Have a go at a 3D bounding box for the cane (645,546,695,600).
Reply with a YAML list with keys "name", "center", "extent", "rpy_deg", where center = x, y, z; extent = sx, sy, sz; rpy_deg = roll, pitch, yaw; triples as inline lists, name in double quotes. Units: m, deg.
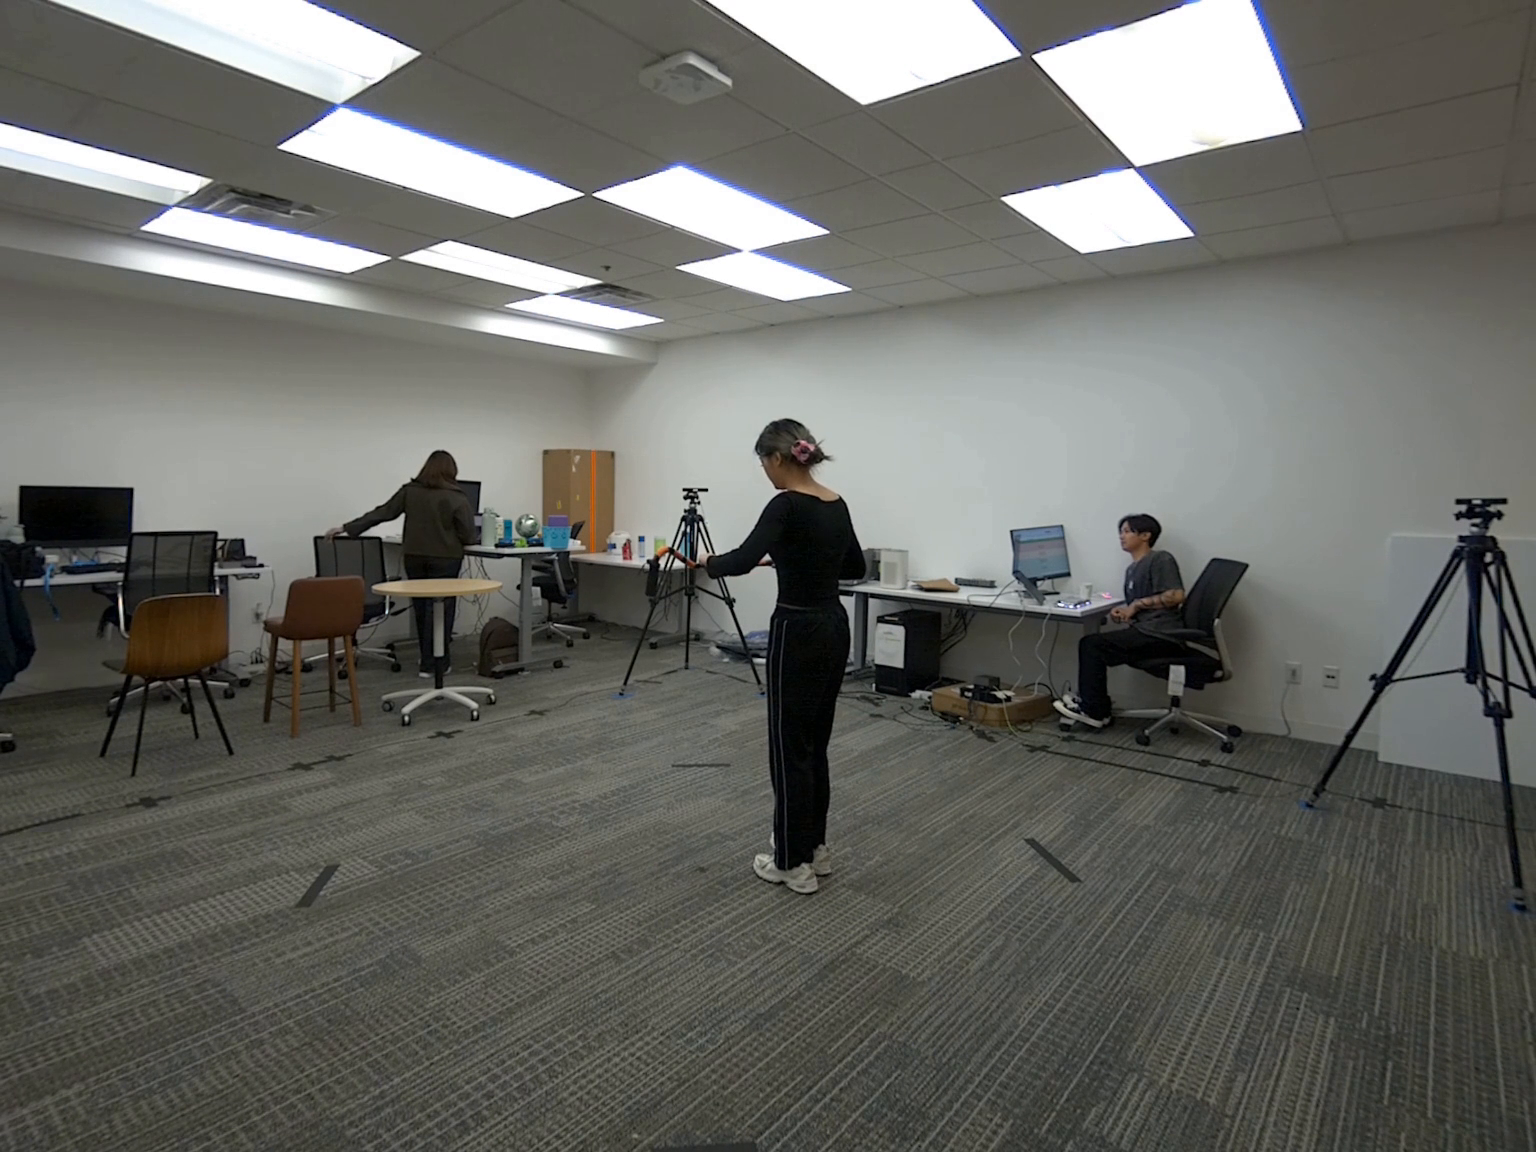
- name: "cane"
  center: [-0.119, -0.044, 3.108]
  extent: [0.157, 0.205, 0.881]
  rpy_deg: [13, 11, 37]
